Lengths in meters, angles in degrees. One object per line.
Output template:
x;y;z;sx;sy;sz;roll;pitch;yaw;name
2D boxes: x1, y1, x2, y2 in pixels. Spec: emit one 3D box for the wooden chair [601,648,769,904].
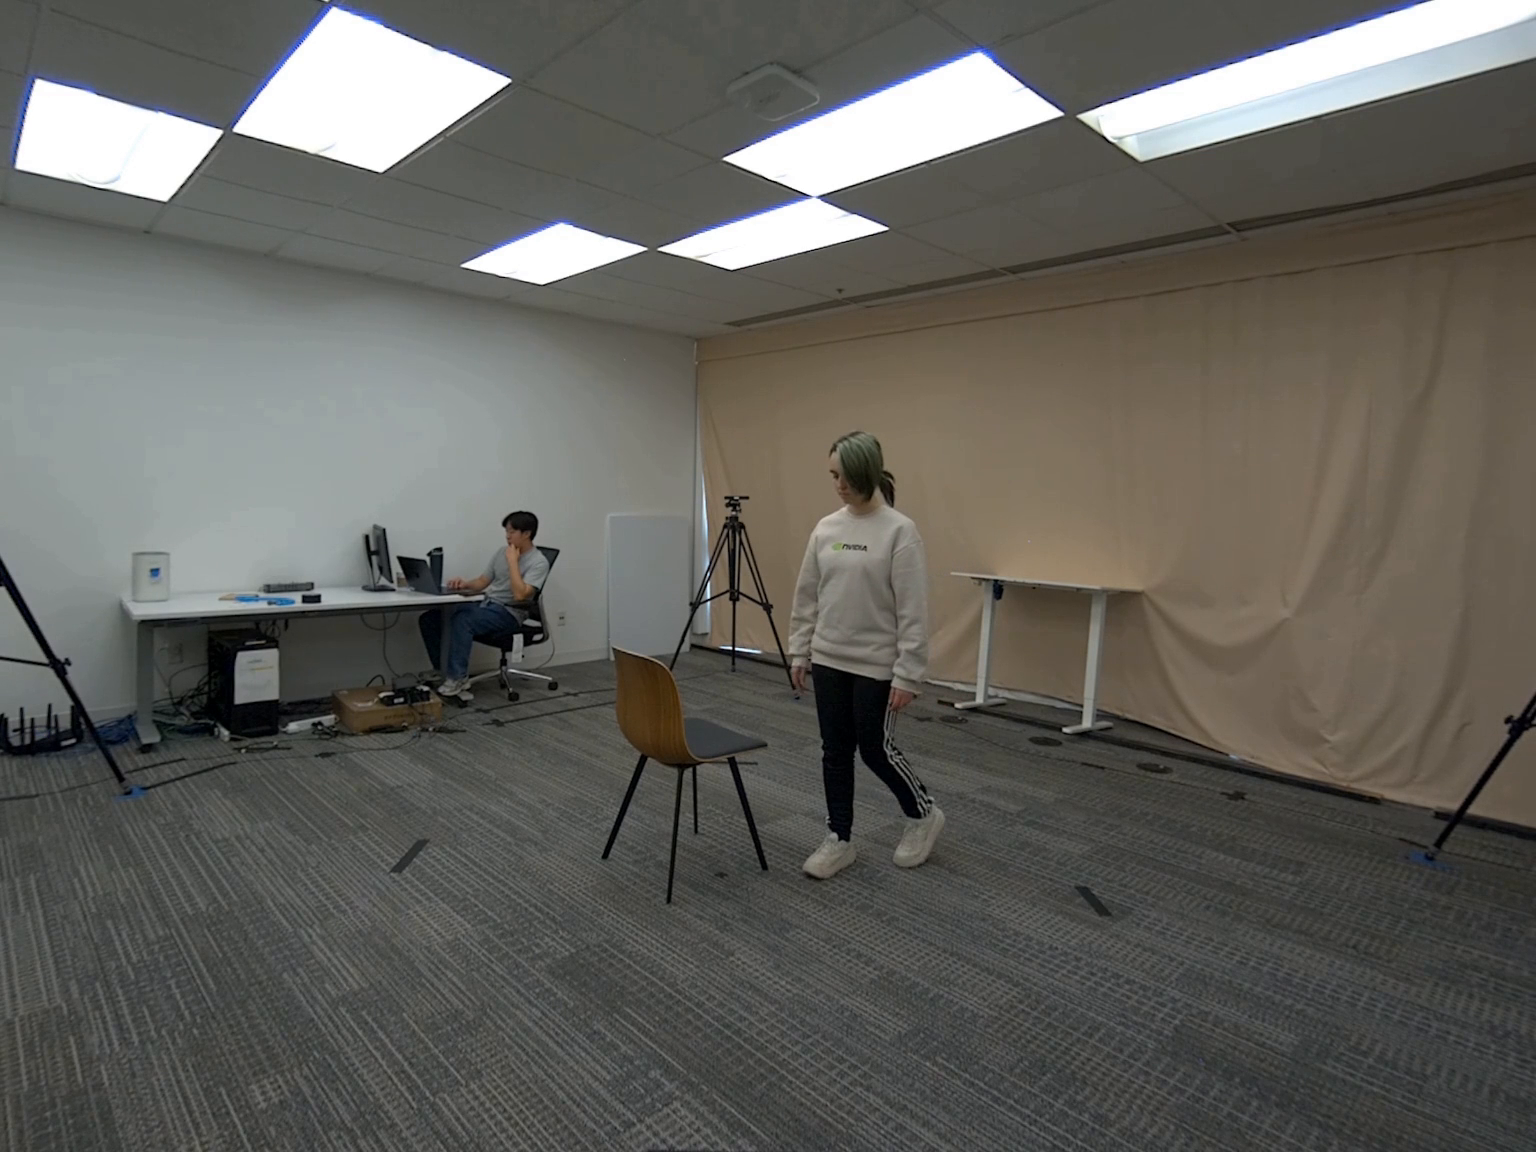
-0.300;0.662;3.160;0.512;0.873;0.490;-7;7;-39;wooden chair
